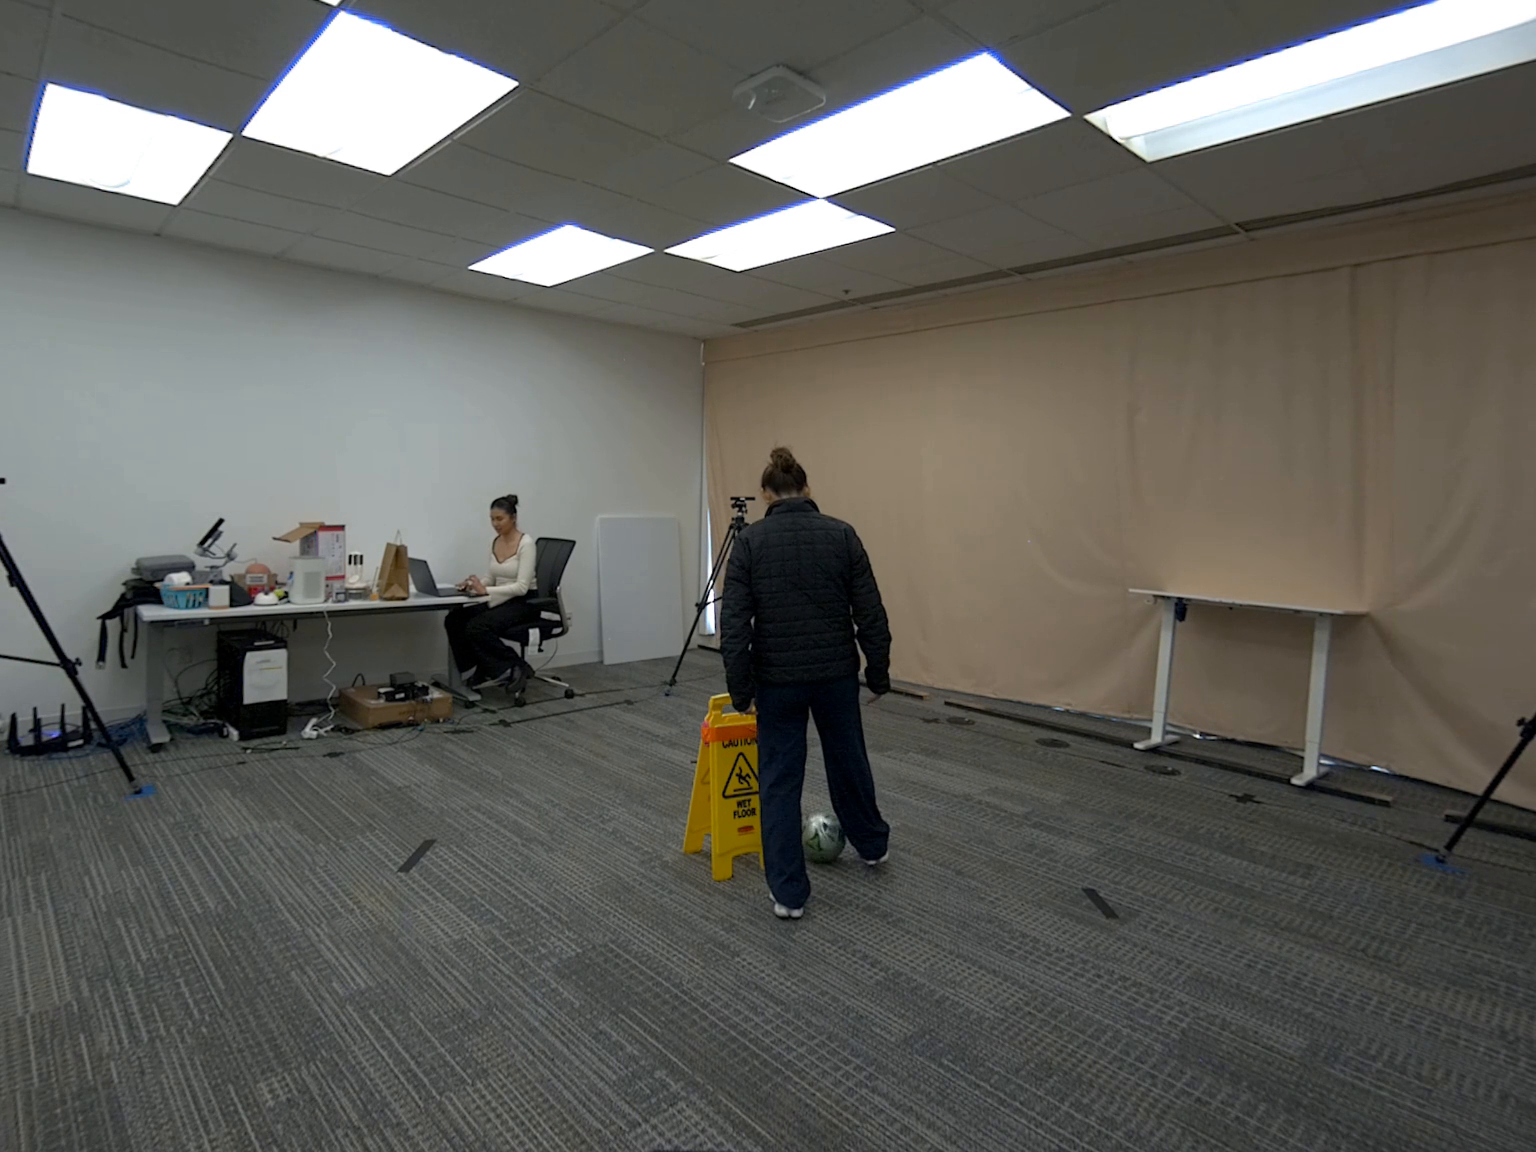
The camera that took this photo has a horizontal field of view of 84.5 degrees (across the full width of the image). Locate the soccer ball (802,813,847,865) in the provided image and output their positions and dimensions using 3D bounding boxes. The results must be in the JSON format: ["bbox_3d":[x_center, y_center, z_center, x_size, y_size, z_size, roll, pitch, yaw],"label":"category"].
[{"bbox_3d":[0.201,1.001,3.259,0.187,0.187,0.188,1,4,-1],"label":"soccer ball"}]
